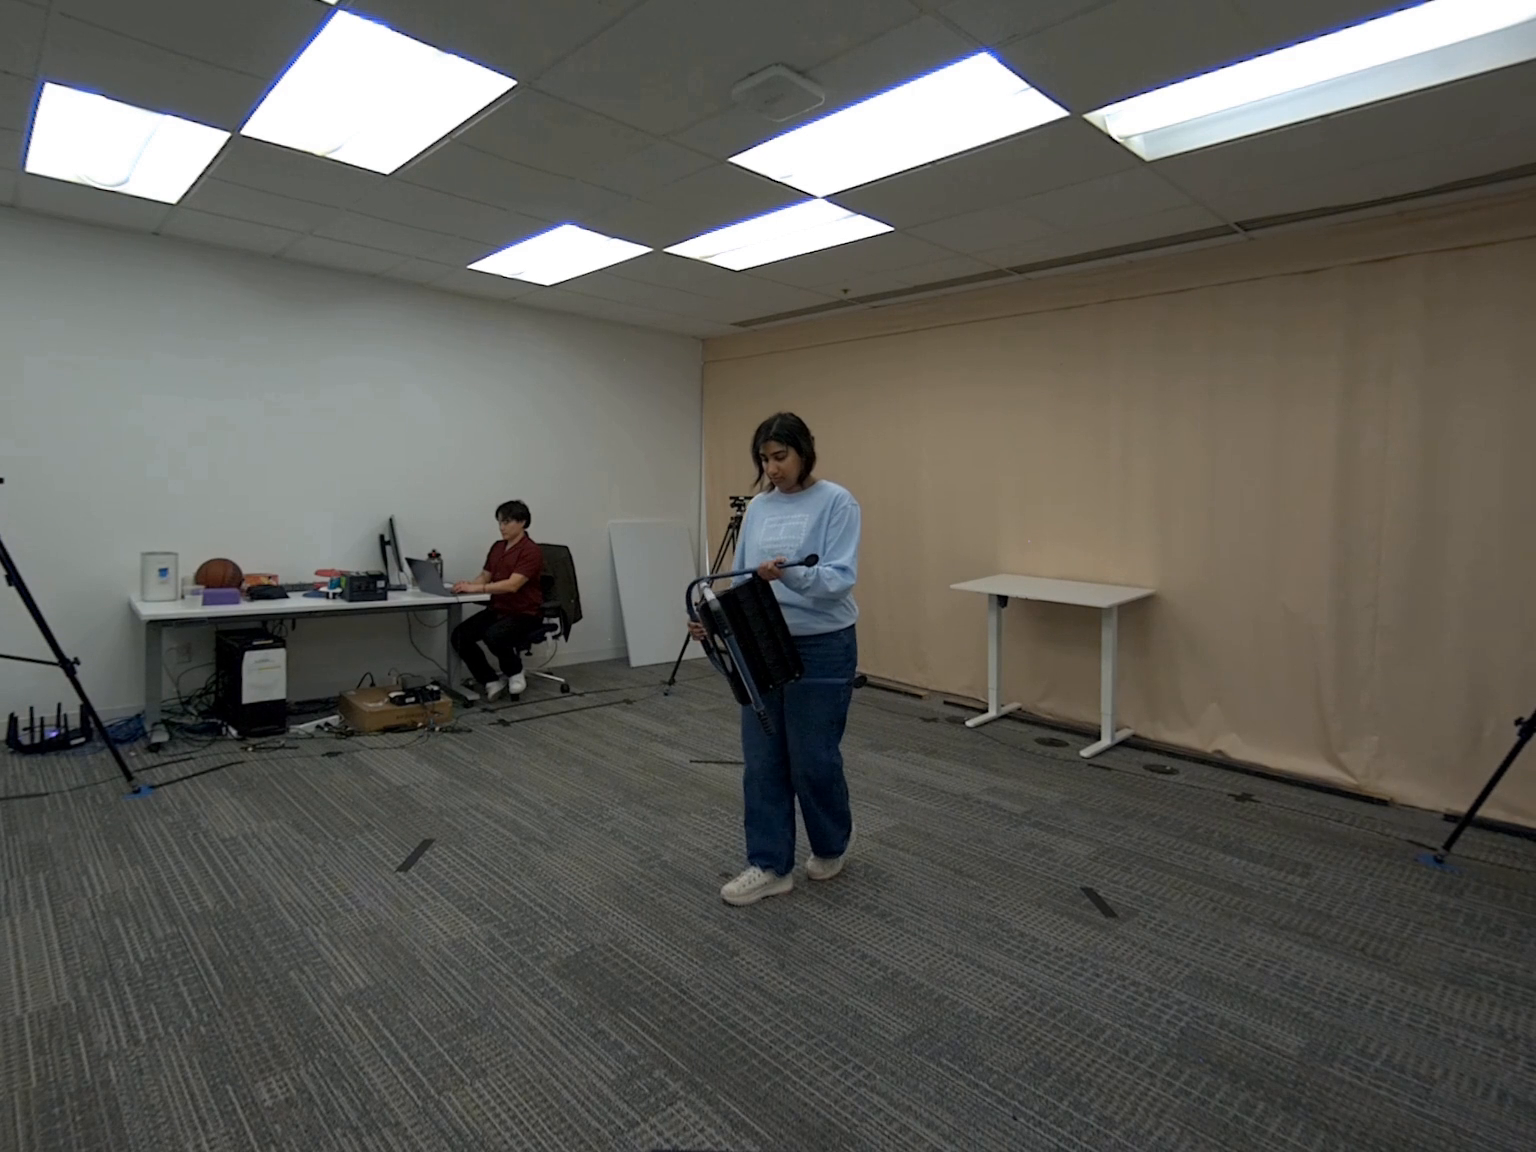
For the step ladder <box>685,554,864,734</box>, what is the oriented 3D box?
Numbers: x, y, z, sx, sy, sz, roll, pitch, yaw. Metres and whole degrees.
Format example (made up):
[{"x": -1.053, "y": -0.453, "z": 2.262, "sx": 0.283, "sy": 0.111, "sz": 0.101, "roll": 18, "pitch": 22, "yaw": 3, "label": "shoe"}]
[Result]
[{"x": -0.053, "y": 0.184, "z": 2.679, "sx": 0.346, "sy": 0.426, "sz": 0.617, "roll": -26, "pitch": 12, "yaw": -20, "label": "step ladder"}]
